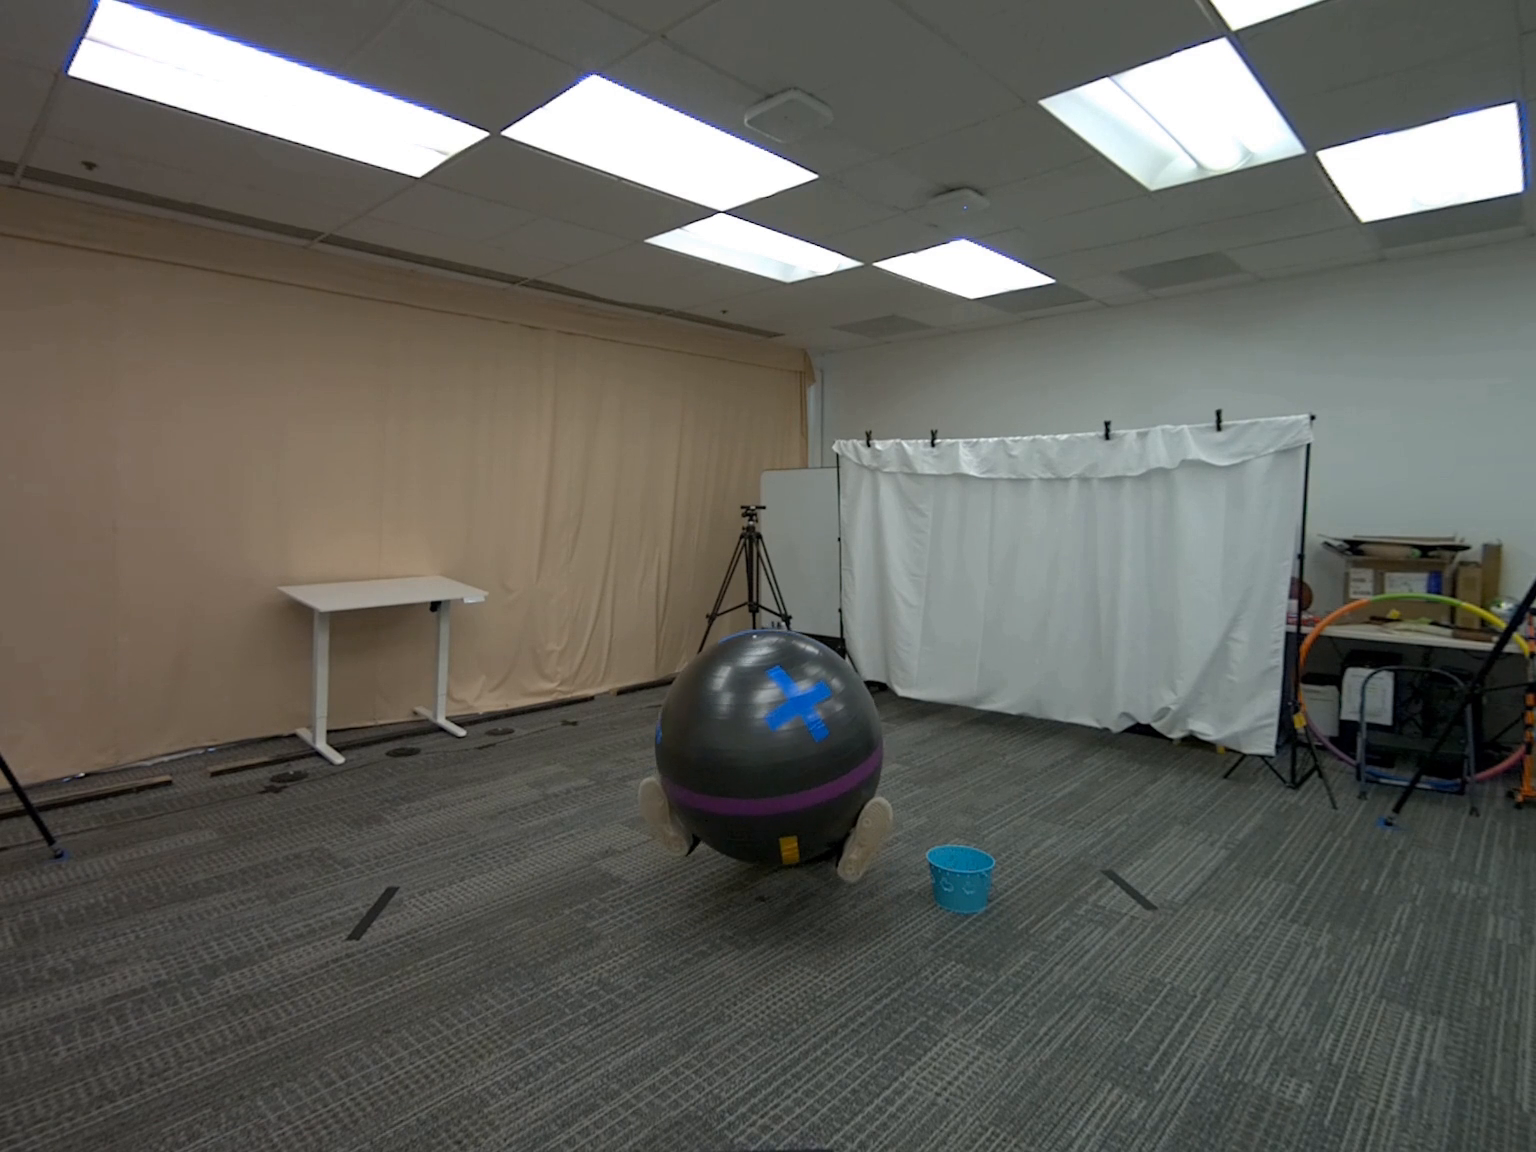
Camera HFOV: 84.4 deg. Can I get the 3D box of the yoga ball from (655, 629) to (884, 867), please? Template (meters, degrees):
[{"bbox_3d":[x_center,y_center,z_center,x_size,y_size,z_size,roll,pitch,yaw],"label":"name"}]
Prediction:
[{"bbox_3d":[0.005,0.564,2.816,0.757,0.756,0.760,0,4,-2],"label":"yoga ball"}]
